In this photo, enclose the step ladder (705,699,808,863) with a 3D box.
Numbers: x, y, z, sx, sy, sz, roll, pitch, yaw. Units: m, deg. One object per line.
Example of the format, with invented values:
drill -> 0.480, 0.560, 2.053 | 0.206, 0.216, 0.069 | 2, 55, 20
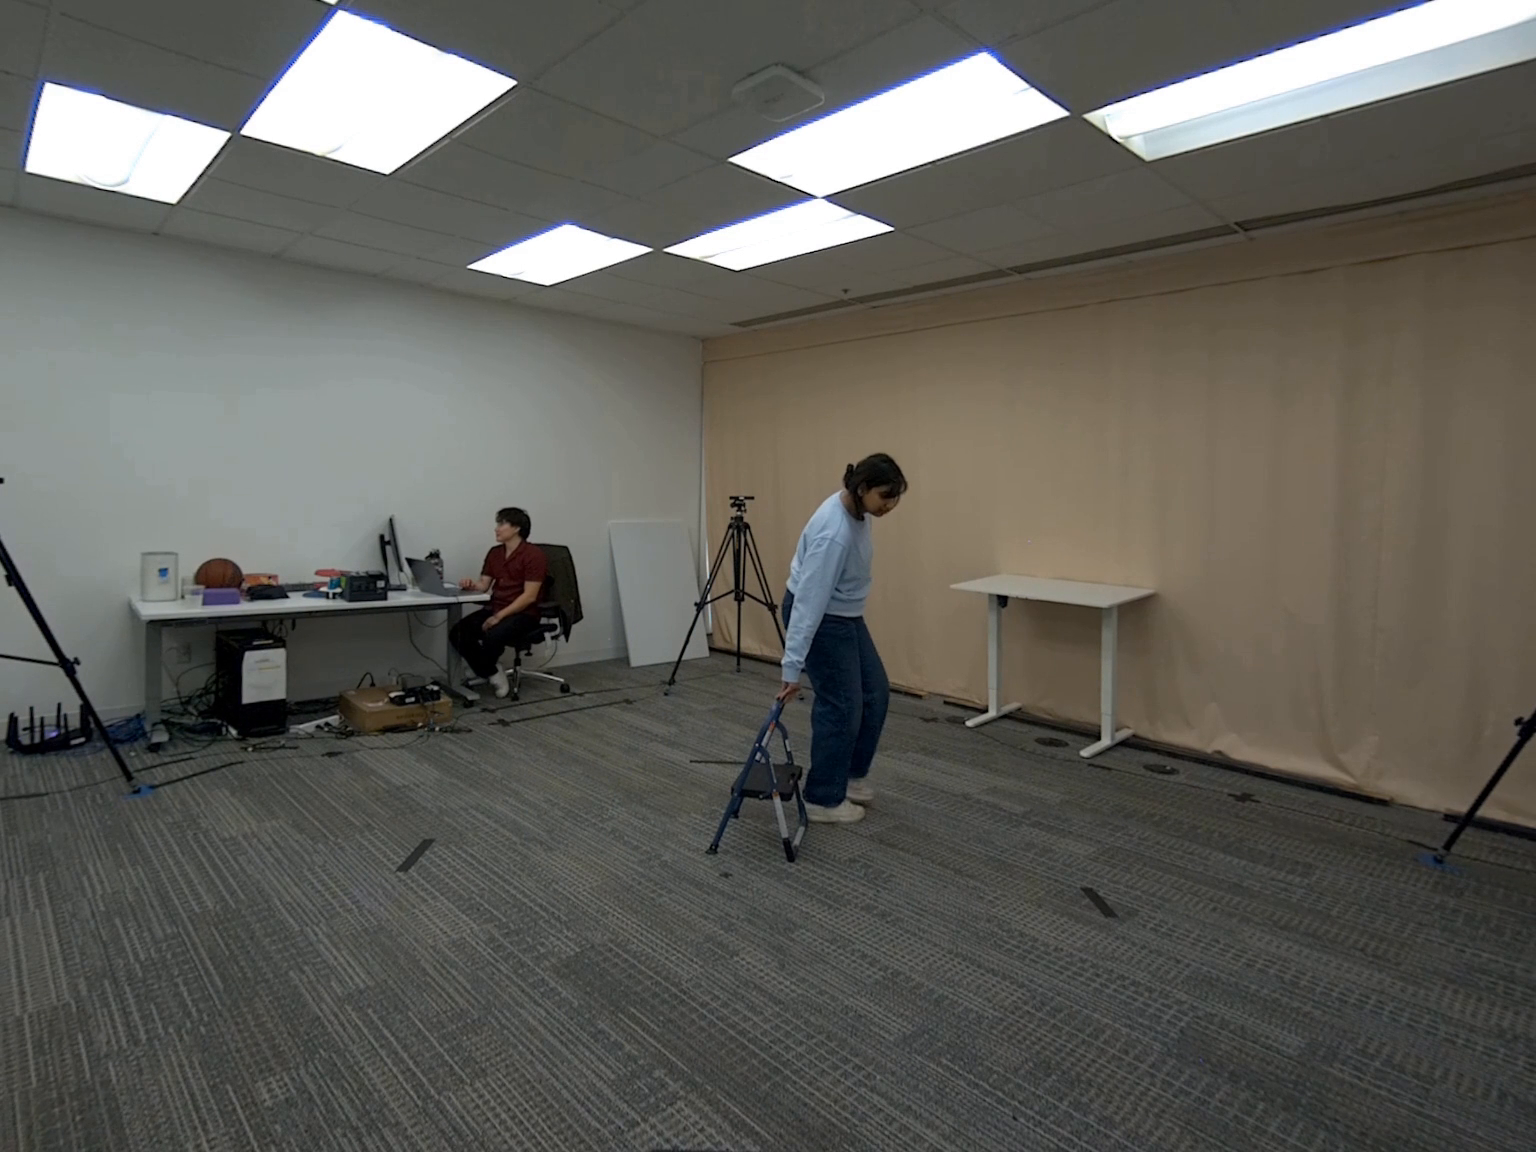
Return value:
step ladder -> -0.031, 0.777, 3.439 | 0.353, 0.604, 0.427 | 2, 4, 11
